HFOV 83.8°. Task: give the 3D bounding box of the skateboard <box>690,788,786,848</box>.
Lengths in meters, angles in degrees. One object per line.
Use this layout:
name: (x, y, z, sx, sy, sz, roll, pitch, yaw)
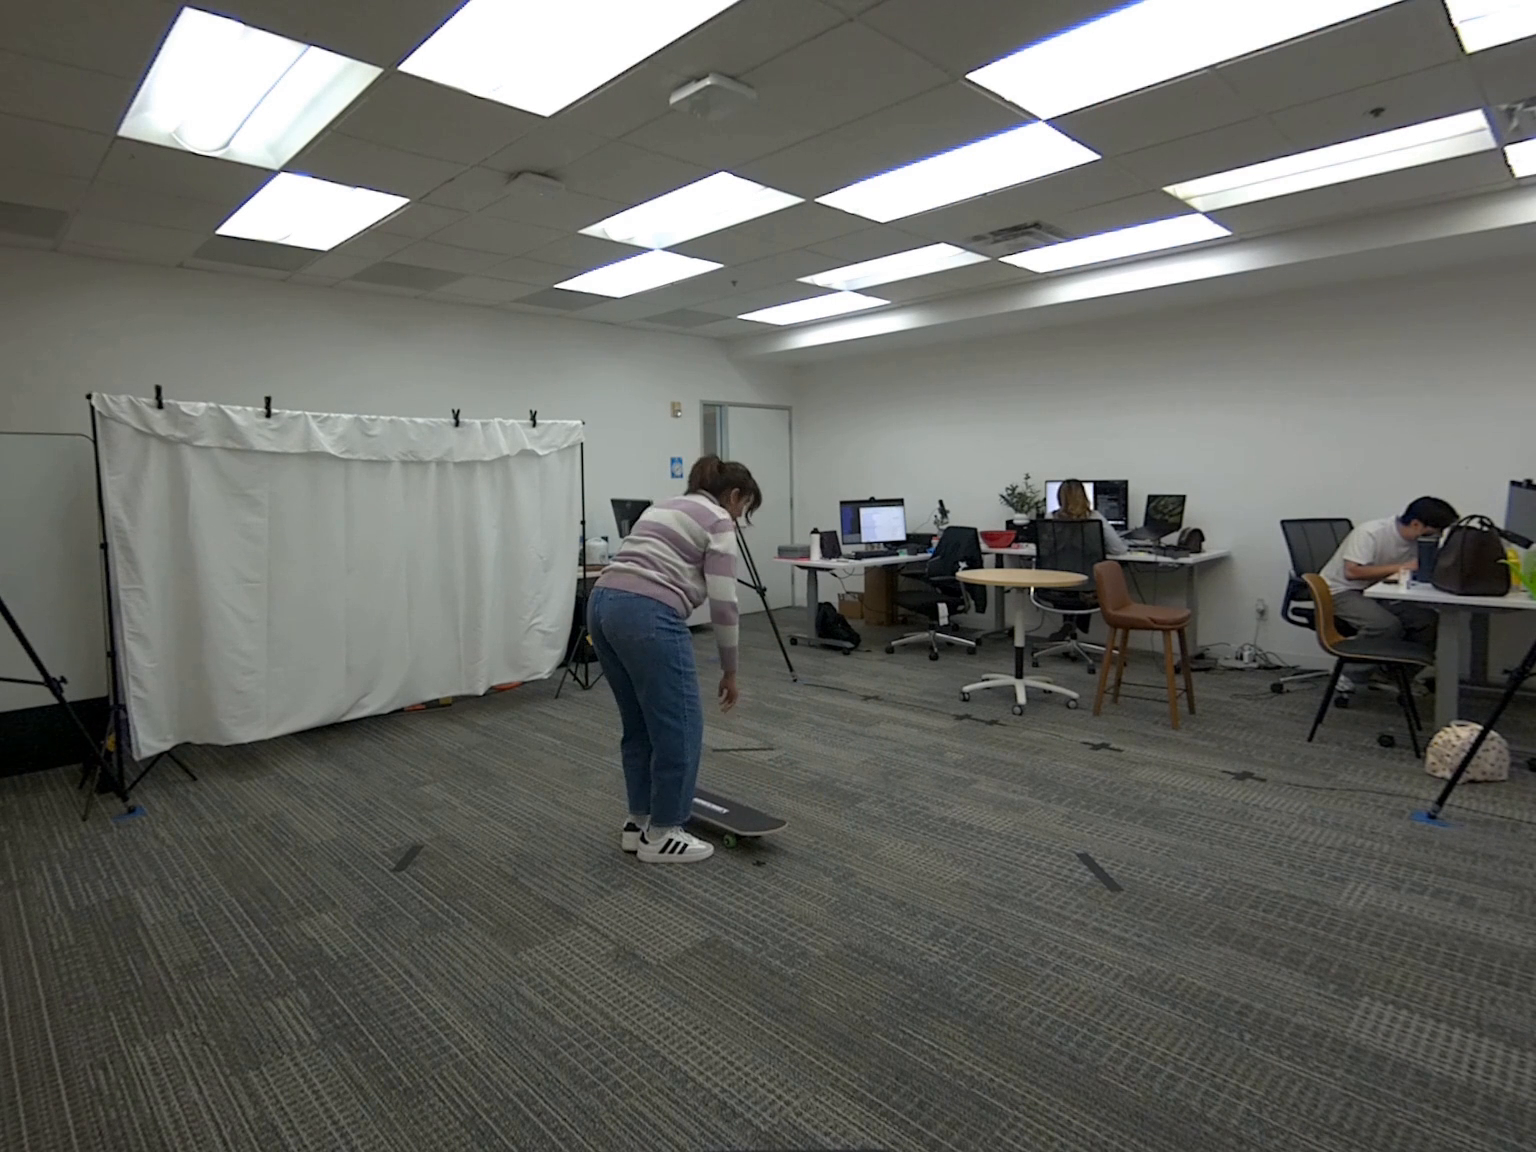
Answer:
skateboard: (-0.235, 0.958, 3.441, 0.188, 0.110, 0.810, -7, 9, -44)
